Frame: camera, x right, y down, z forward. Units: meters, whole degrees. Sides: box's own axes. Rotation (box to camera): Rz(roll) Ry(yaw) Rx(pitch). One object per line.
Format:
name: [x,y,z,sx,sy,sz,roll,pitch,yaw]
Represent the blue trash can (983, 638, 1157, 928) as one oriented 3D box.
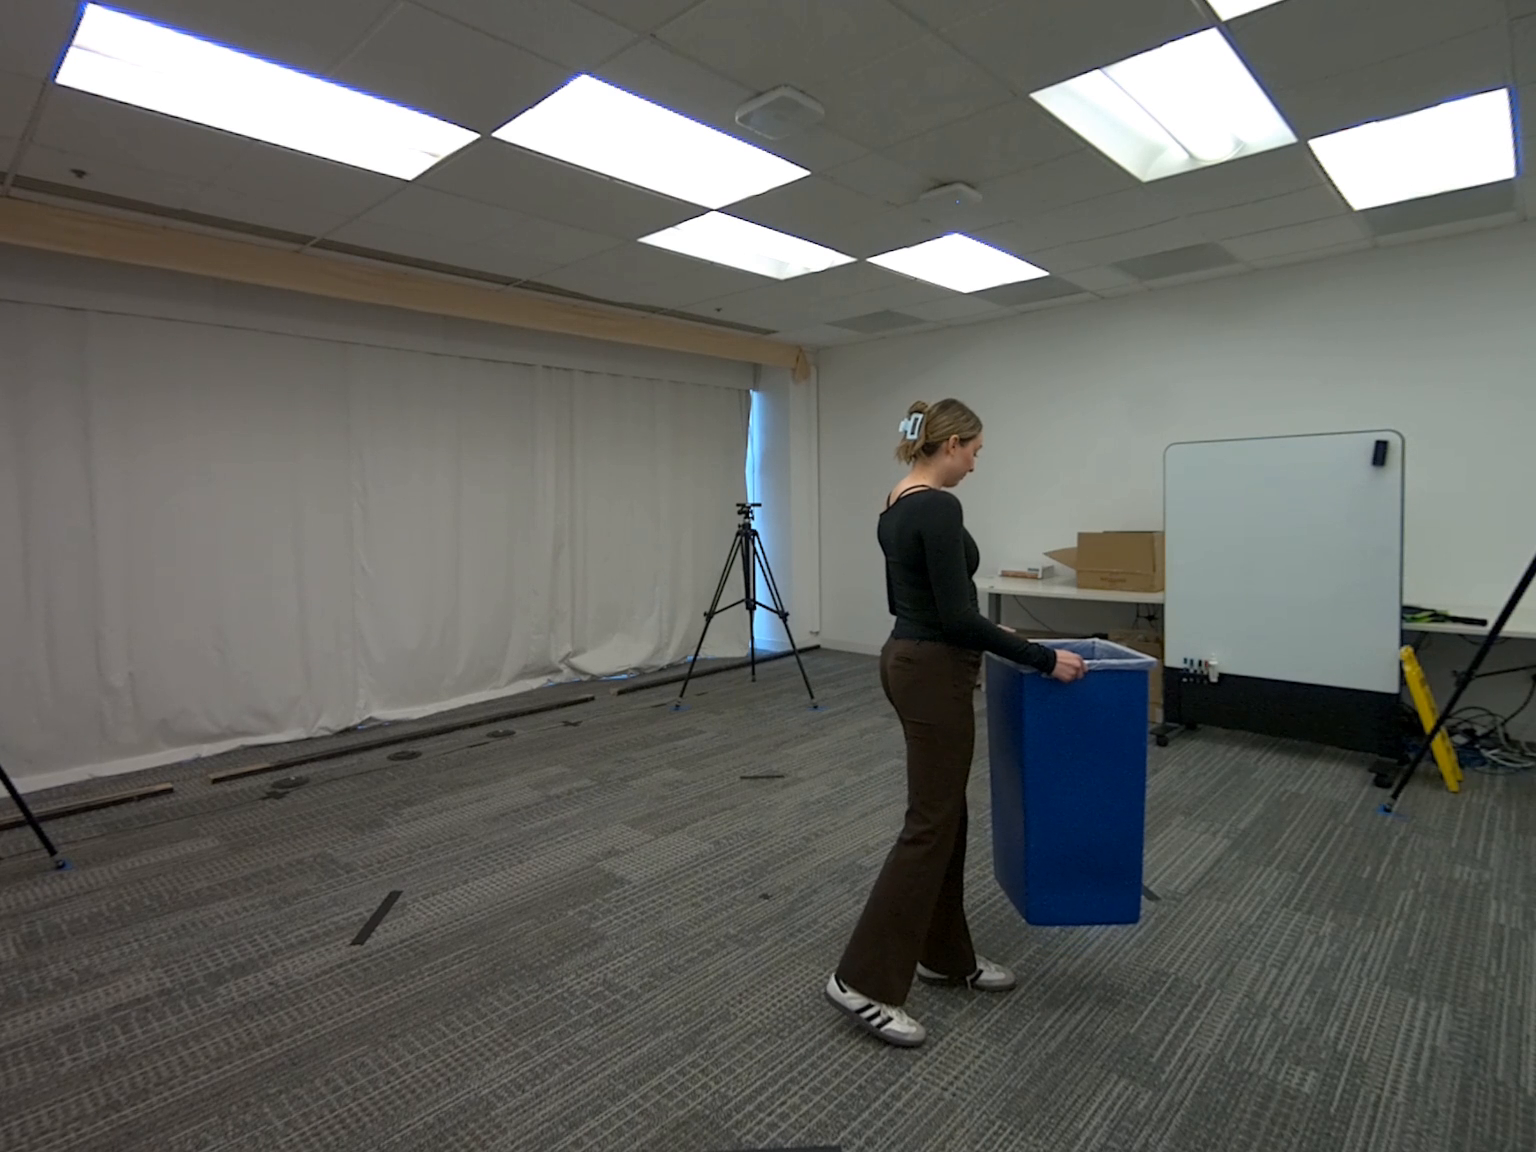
blue trash can: [0.839,0.570,2.366,0.377,0.712,0.375,-1,3,-2]
